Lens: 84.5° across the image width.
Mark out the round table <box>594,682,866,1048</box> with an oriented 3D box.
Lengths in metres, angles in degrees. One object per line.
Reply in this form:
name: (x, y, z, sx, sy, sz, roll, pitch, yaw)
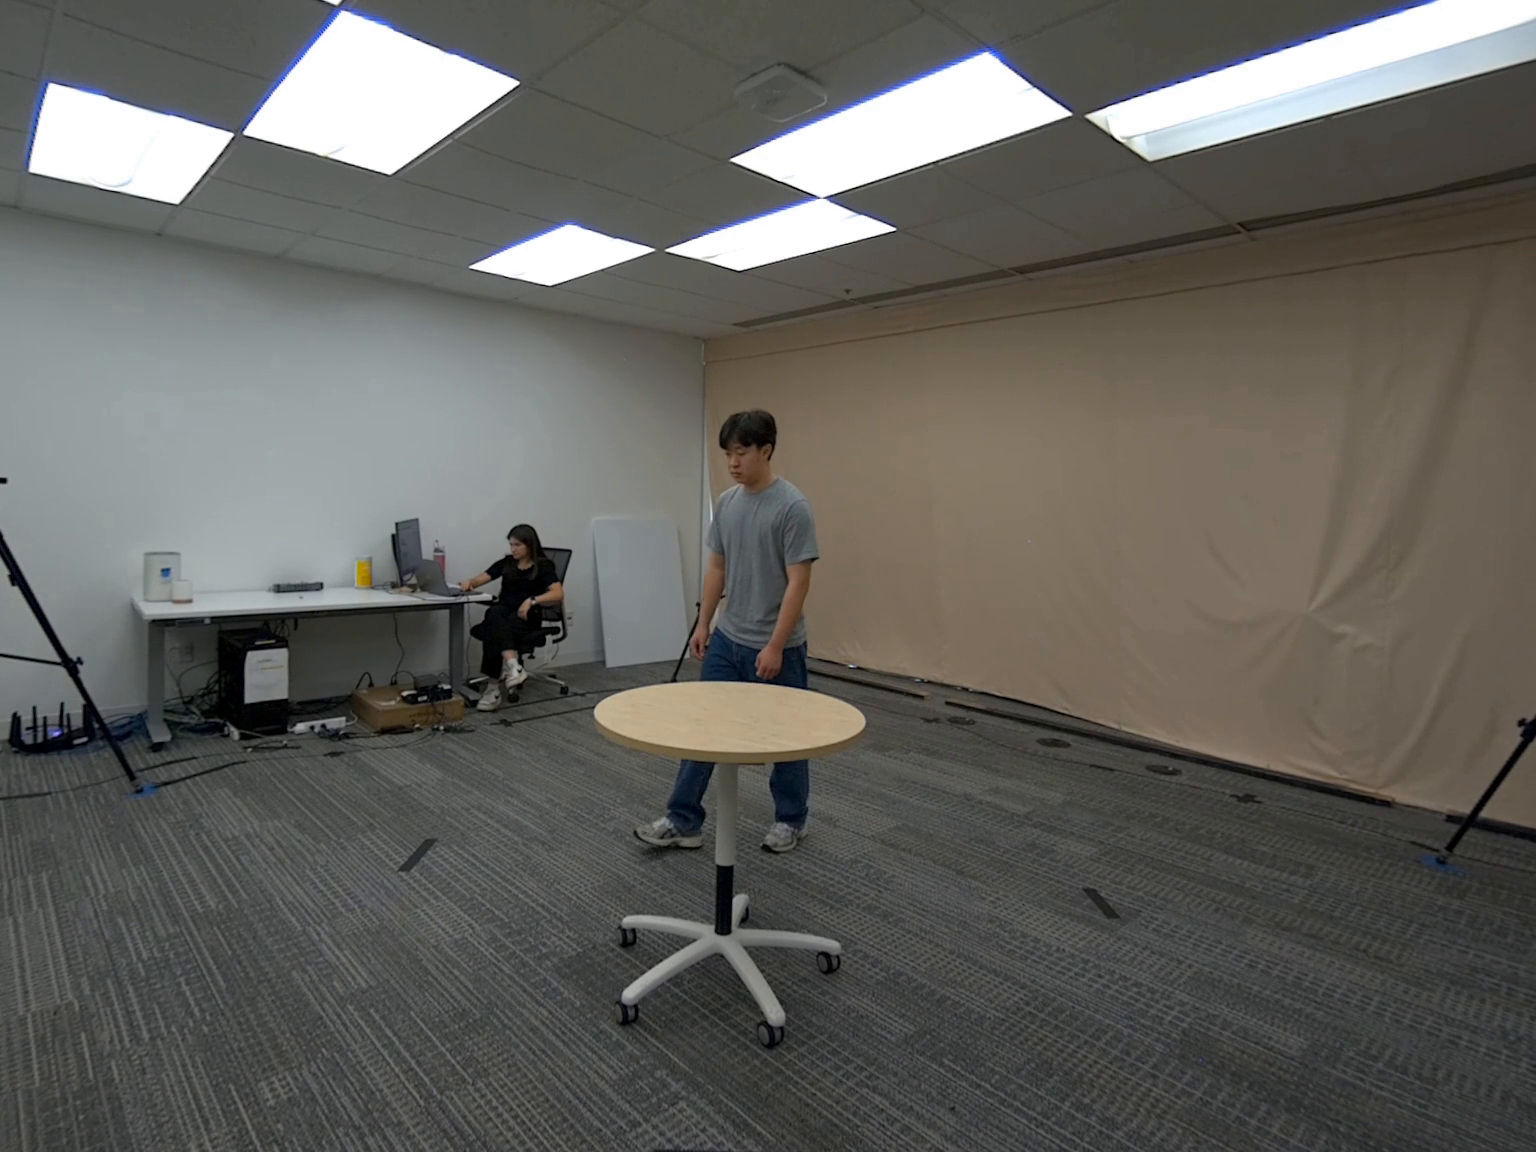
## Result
round table: (-0.132, 0.784, 2.413, 0.763, 0.792, 0.767, 1, 4, -1)
